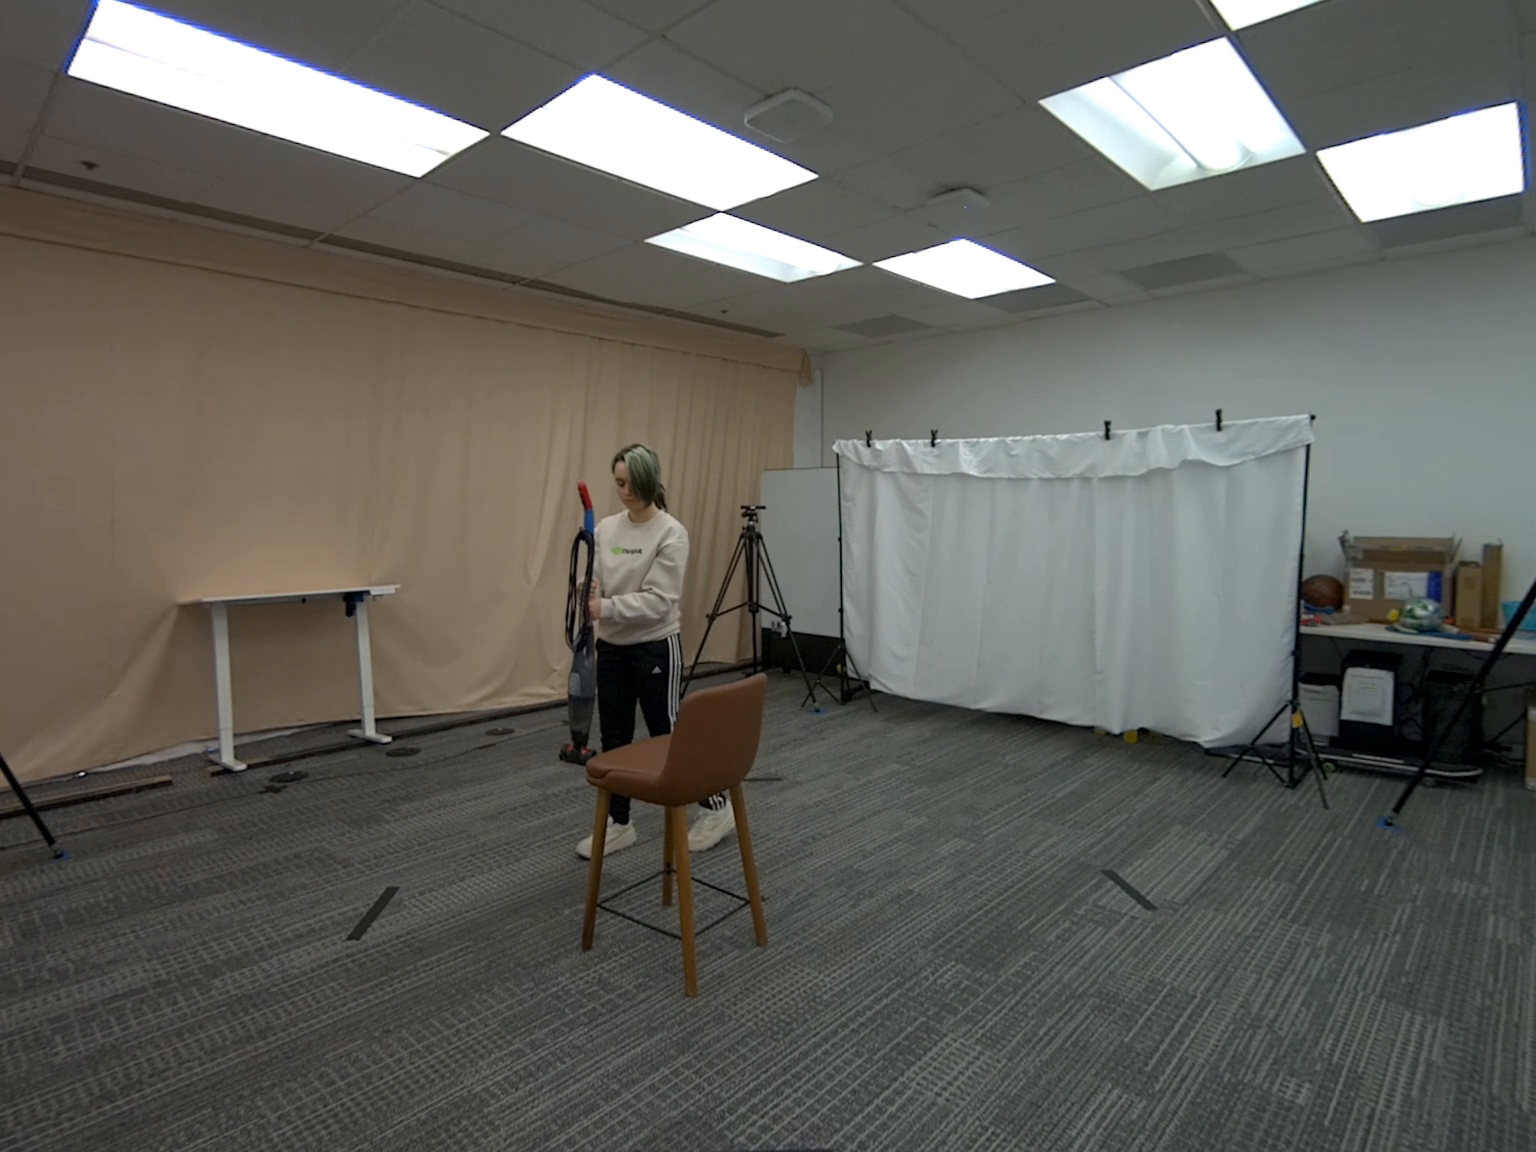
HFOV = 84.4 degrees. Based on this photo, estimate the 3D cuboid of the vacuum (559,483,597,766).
[{"bbox_3d":[-0.687,0.187,3.118,0.261,1.042,0.140,7,12,34],"label":"vacuum"}]
